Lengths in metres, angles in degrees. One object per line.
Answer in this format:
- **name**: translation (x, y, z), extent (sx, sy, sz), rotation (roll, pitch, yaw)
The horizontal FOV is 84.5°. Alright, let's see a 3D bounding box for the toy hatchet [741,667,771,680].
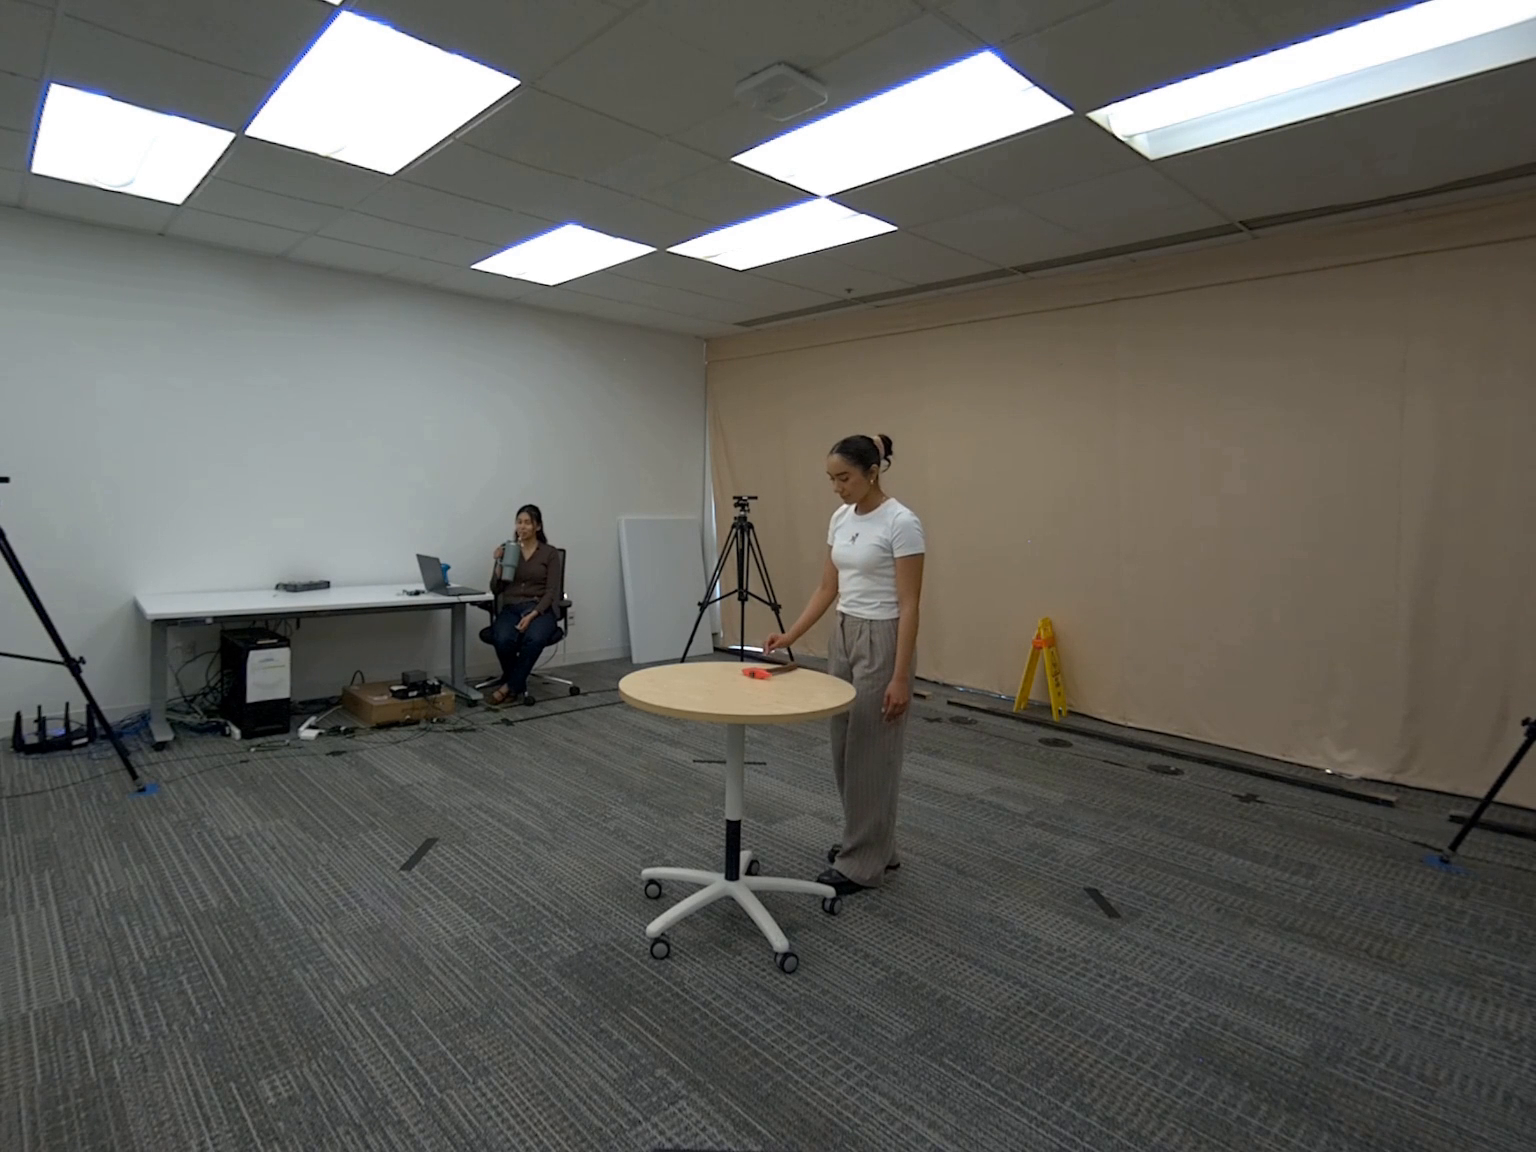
- **toy hatchet**: translation (-0.001, 0.328, 2.958), extent (0.133, 0.029, 0.265), rotation (0, 2, 24)
